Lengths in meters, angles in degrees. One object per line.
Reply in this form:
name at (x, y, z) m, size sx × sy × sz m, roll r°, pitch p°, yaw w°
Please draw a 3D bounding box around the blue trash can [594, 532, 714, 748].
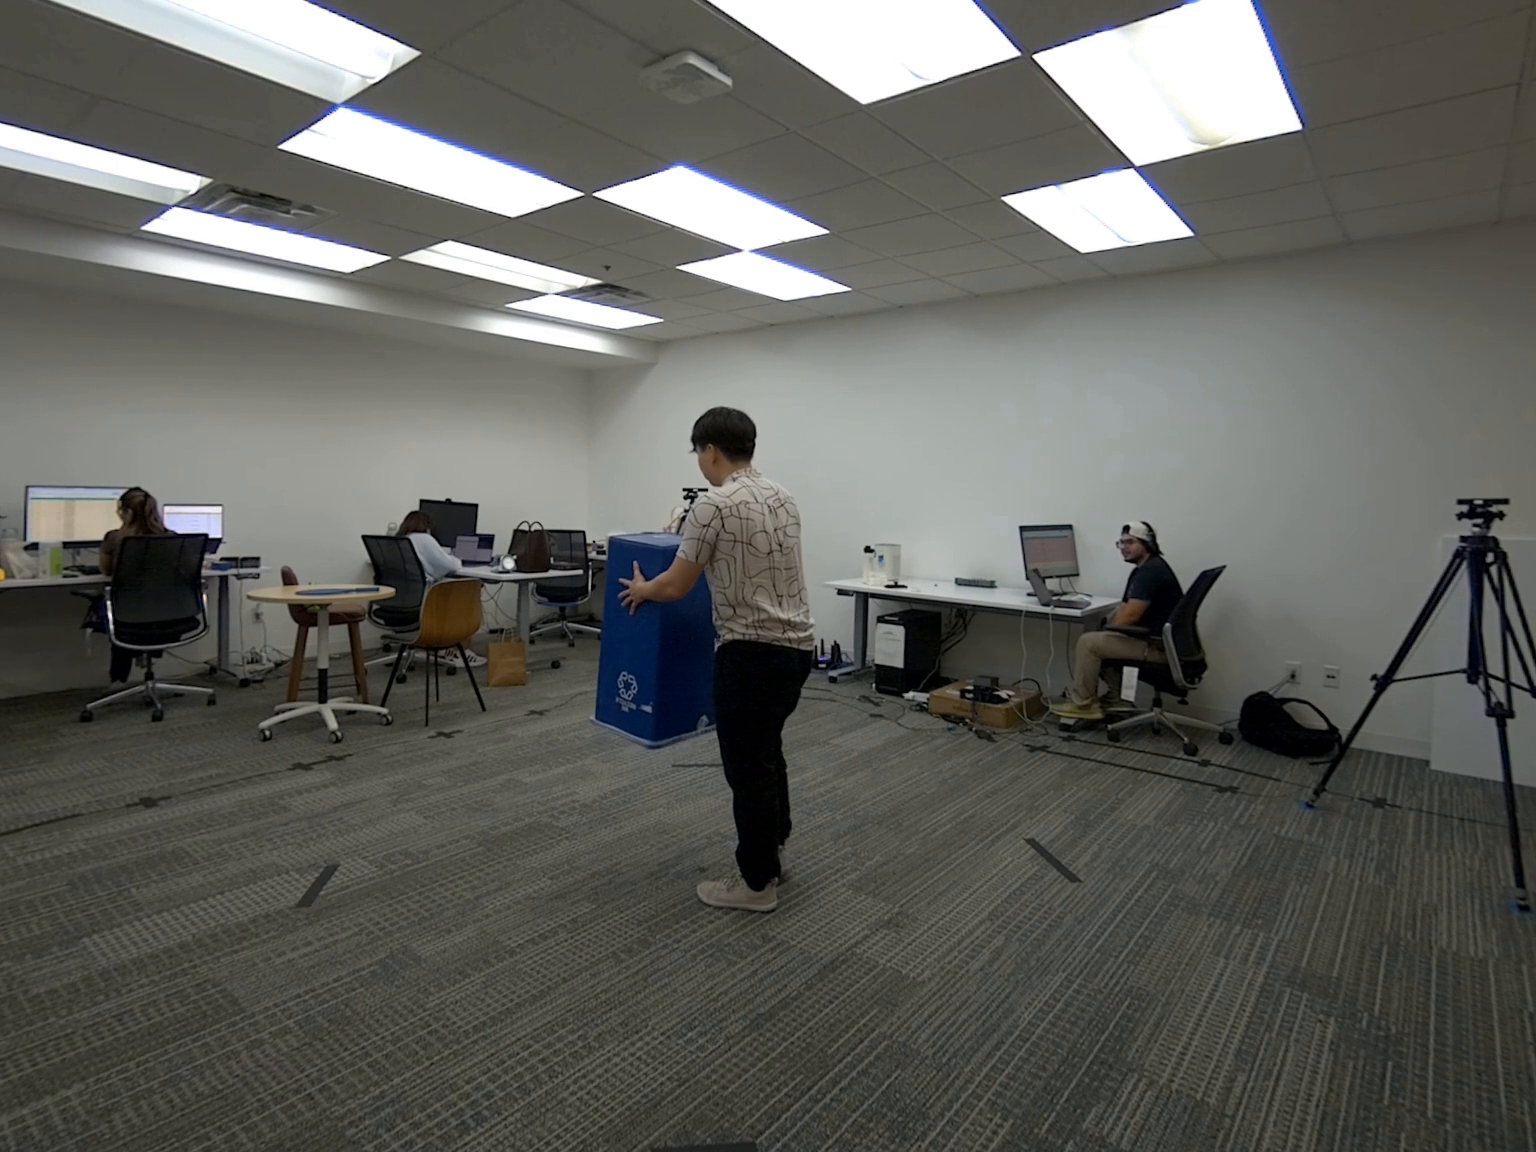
blue trash can at (-0.422, 0.216, 3.168) m, size 0.392 × 0.709 × 0.363 m, roll 9°, pitch 9°, yaw 42°
